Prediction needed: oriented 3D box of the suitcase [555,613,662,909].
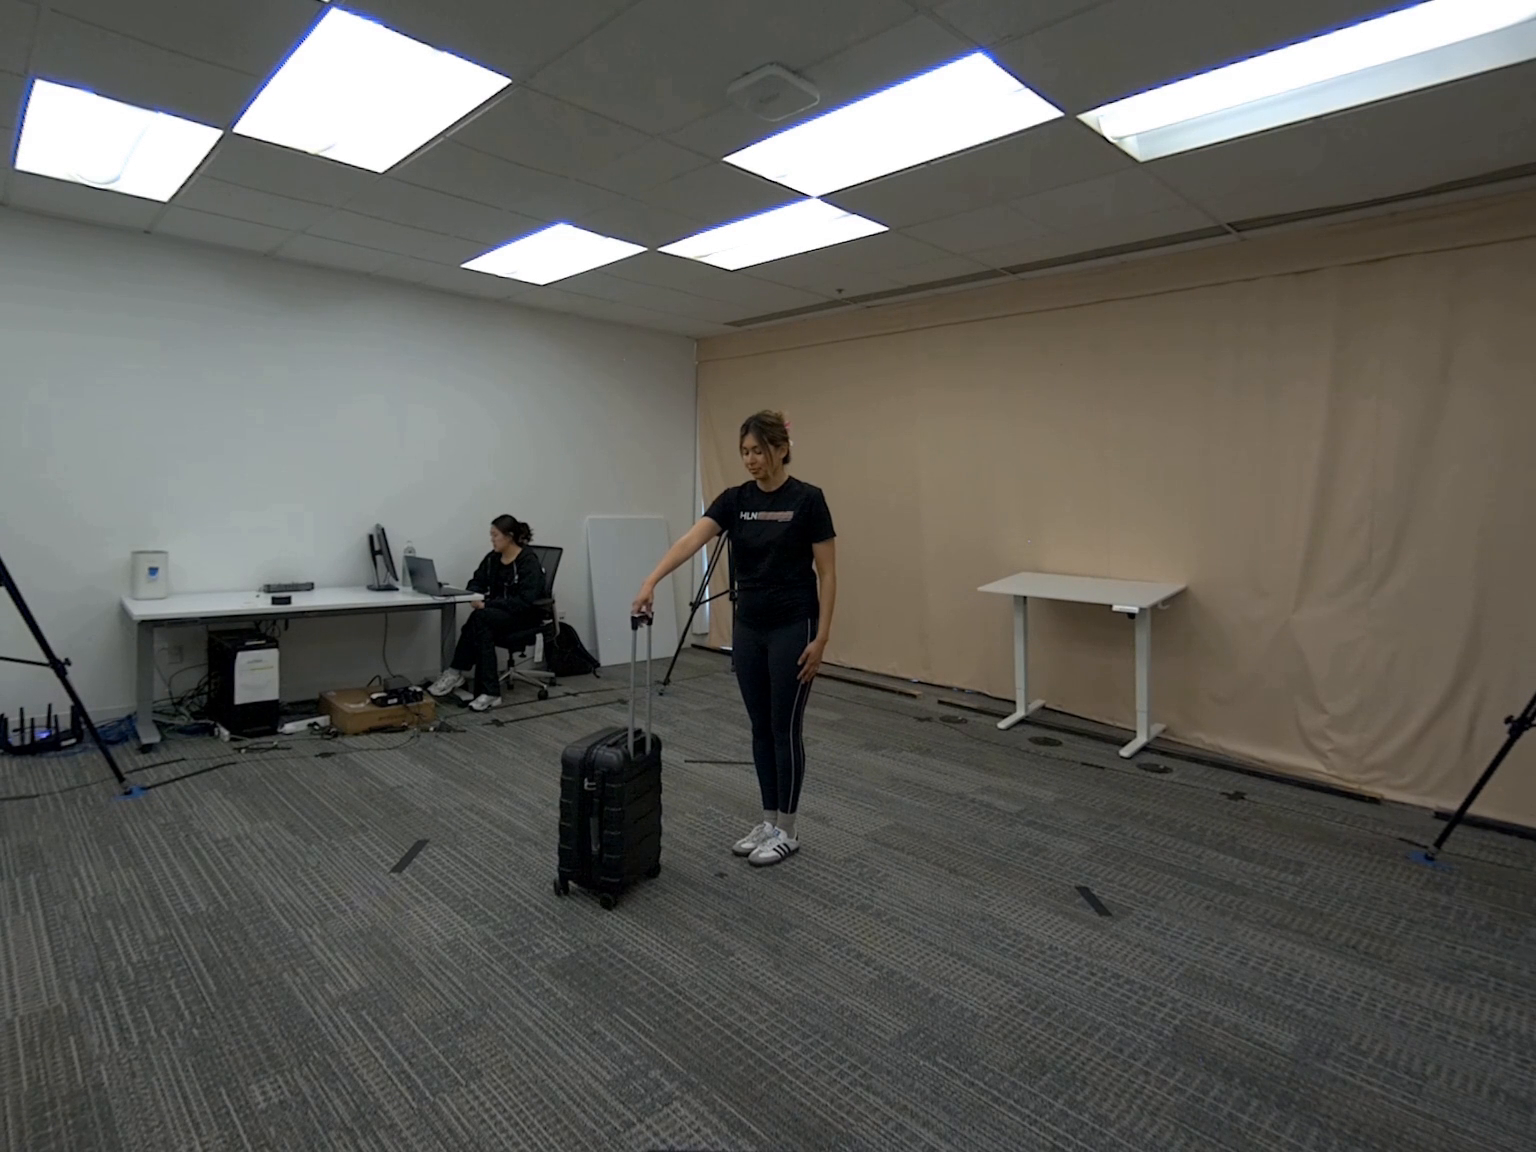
[{"bbox_3d":[-0.561,0.630,2.980,0.261,0.977,0.378,2,2,22],"label":"suitcase"}]
